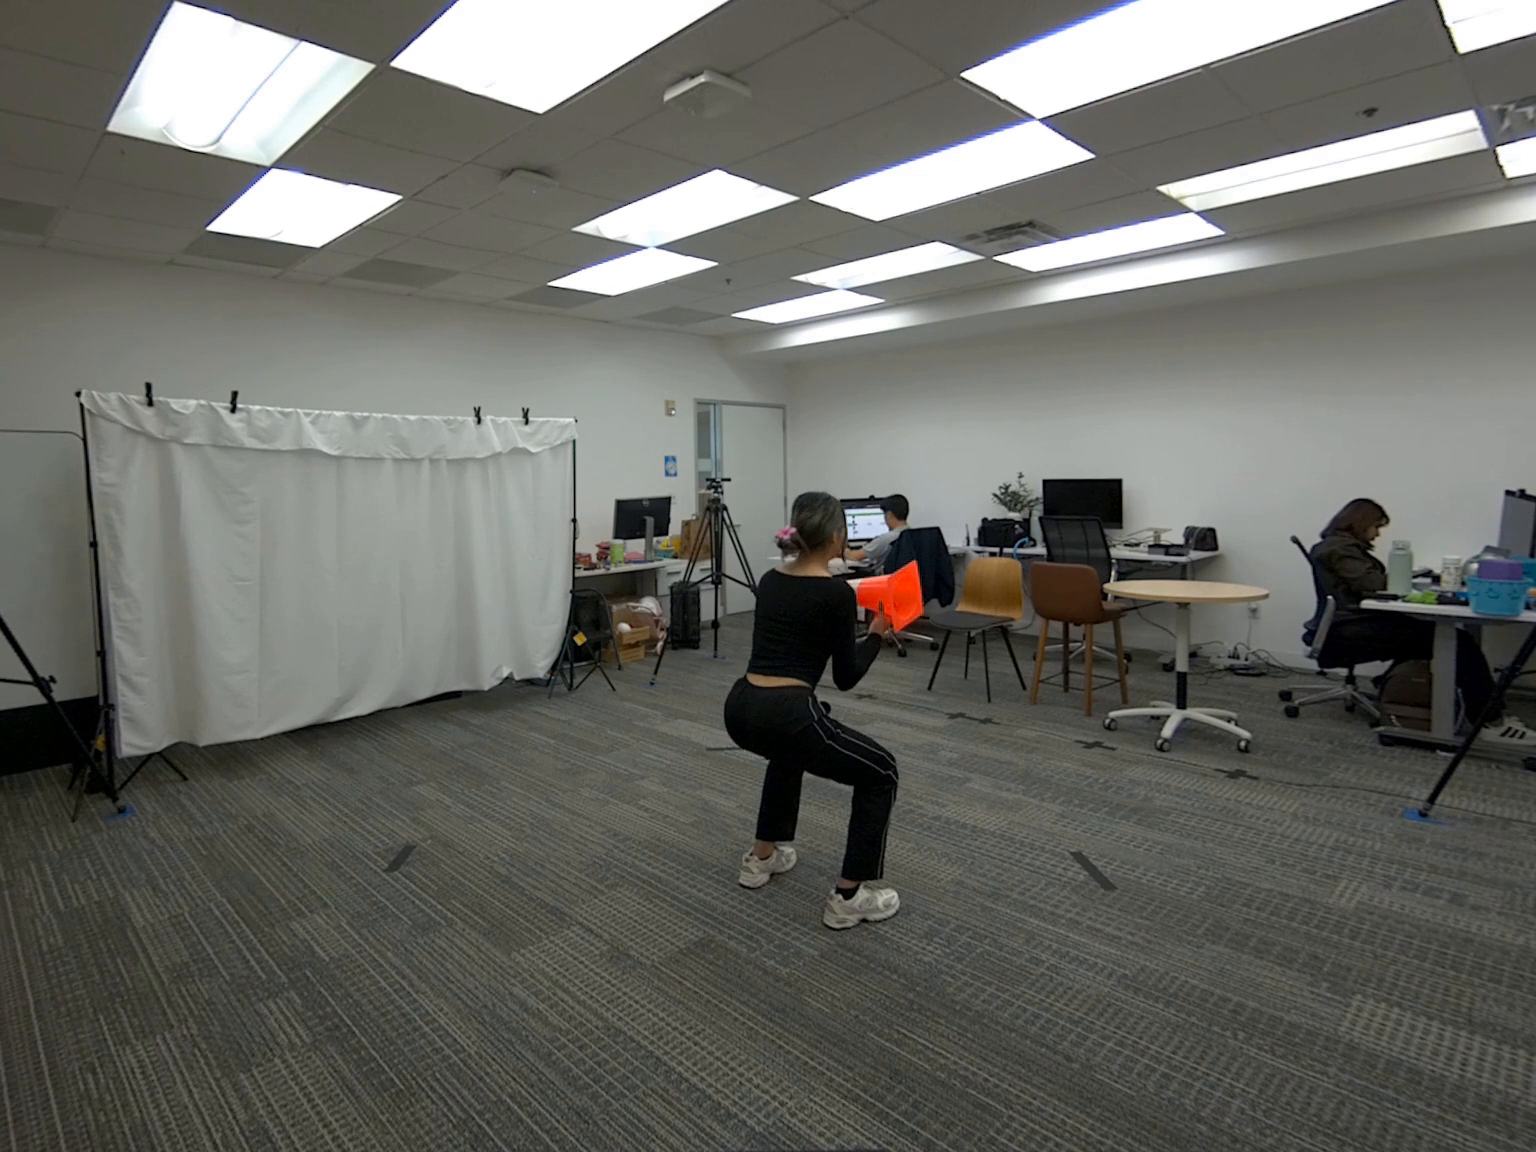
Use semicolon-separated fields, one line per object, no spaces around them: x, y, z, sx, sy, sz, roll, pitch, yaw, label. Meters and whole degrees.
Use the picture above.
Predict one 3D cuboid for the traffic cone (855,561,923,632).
0.329;0.056;3.045;0.395;0.202;0.200;5;22;42;traffic cone
